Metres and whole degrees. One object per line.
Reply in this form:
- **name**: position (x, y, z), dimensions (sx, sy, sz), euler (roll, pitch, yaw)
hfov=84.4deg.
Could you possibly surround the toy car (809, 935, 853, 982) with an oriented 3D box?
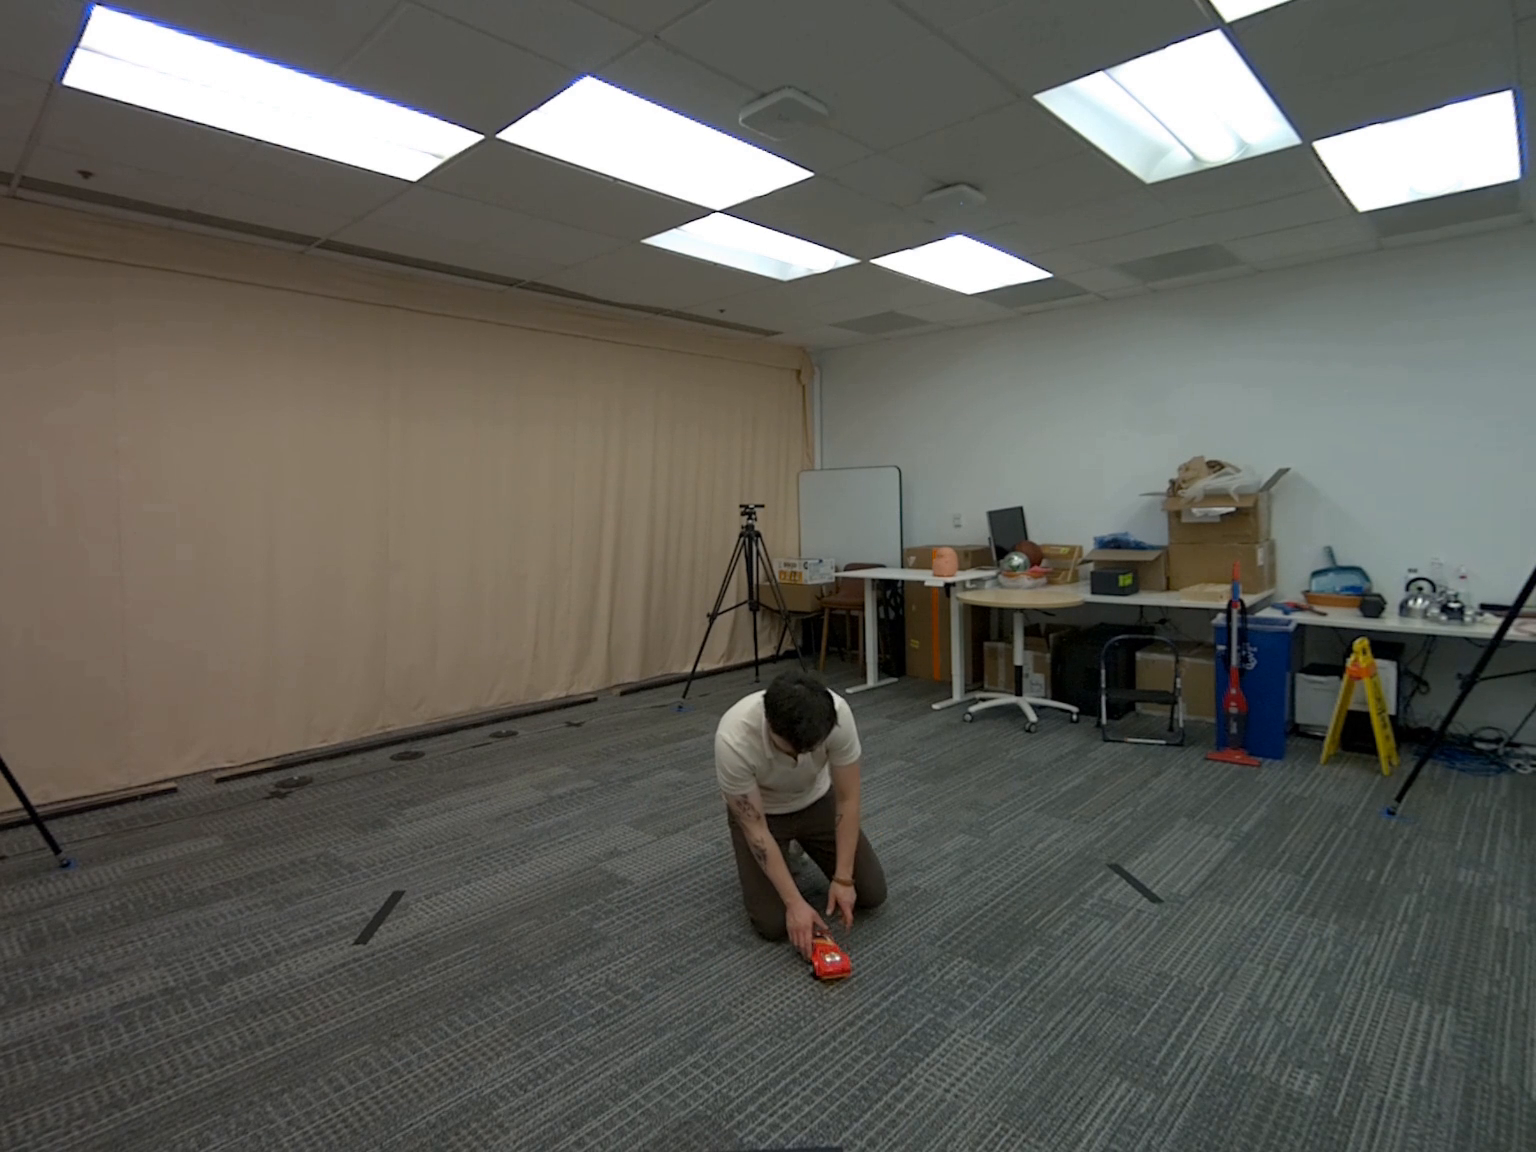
- **toy car**: position (0.172, 1.137, 2.531), dimensions (0.129, 0.084, 0.256), euler (-1, -9, -13)
